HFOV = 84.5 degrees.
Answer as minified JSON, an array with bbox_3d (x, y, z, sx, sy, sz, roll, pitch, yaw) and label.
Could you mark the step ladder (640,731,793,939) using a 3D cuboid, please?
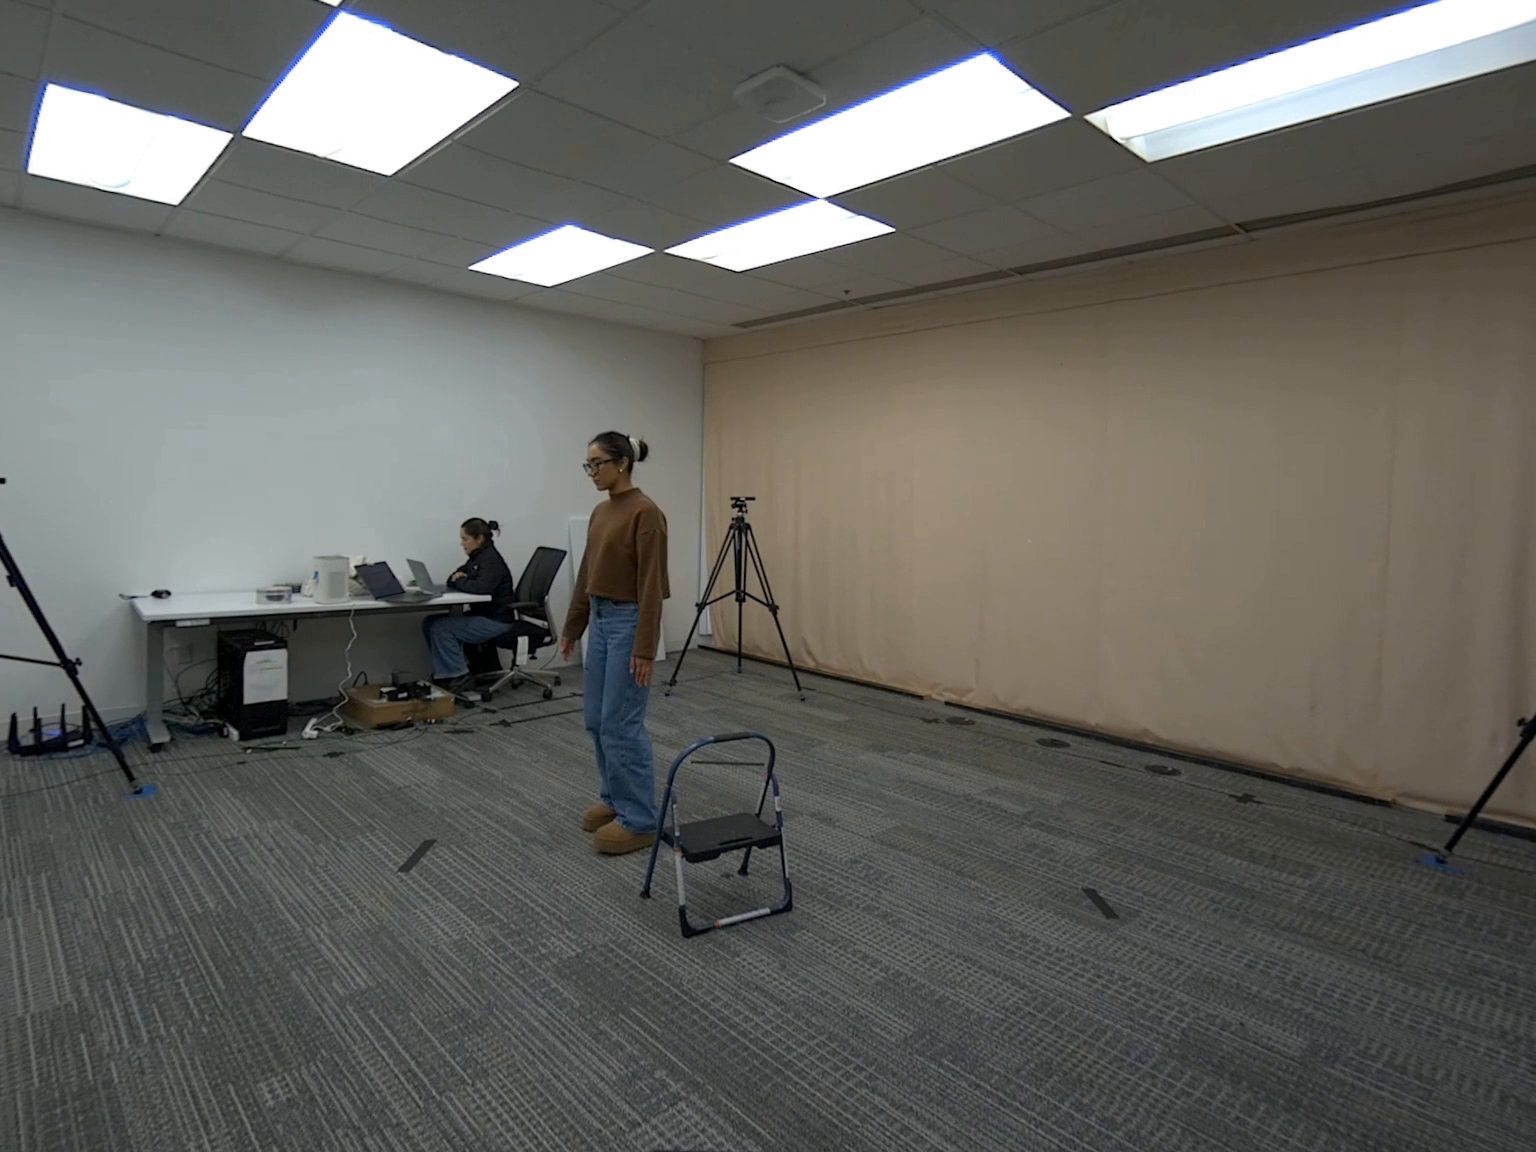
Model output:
[{"bbox_3d":[-0.177,0.821,2.878,0.422,0.604,0.357,-1,4,-32],"label":"step ladder"}]
